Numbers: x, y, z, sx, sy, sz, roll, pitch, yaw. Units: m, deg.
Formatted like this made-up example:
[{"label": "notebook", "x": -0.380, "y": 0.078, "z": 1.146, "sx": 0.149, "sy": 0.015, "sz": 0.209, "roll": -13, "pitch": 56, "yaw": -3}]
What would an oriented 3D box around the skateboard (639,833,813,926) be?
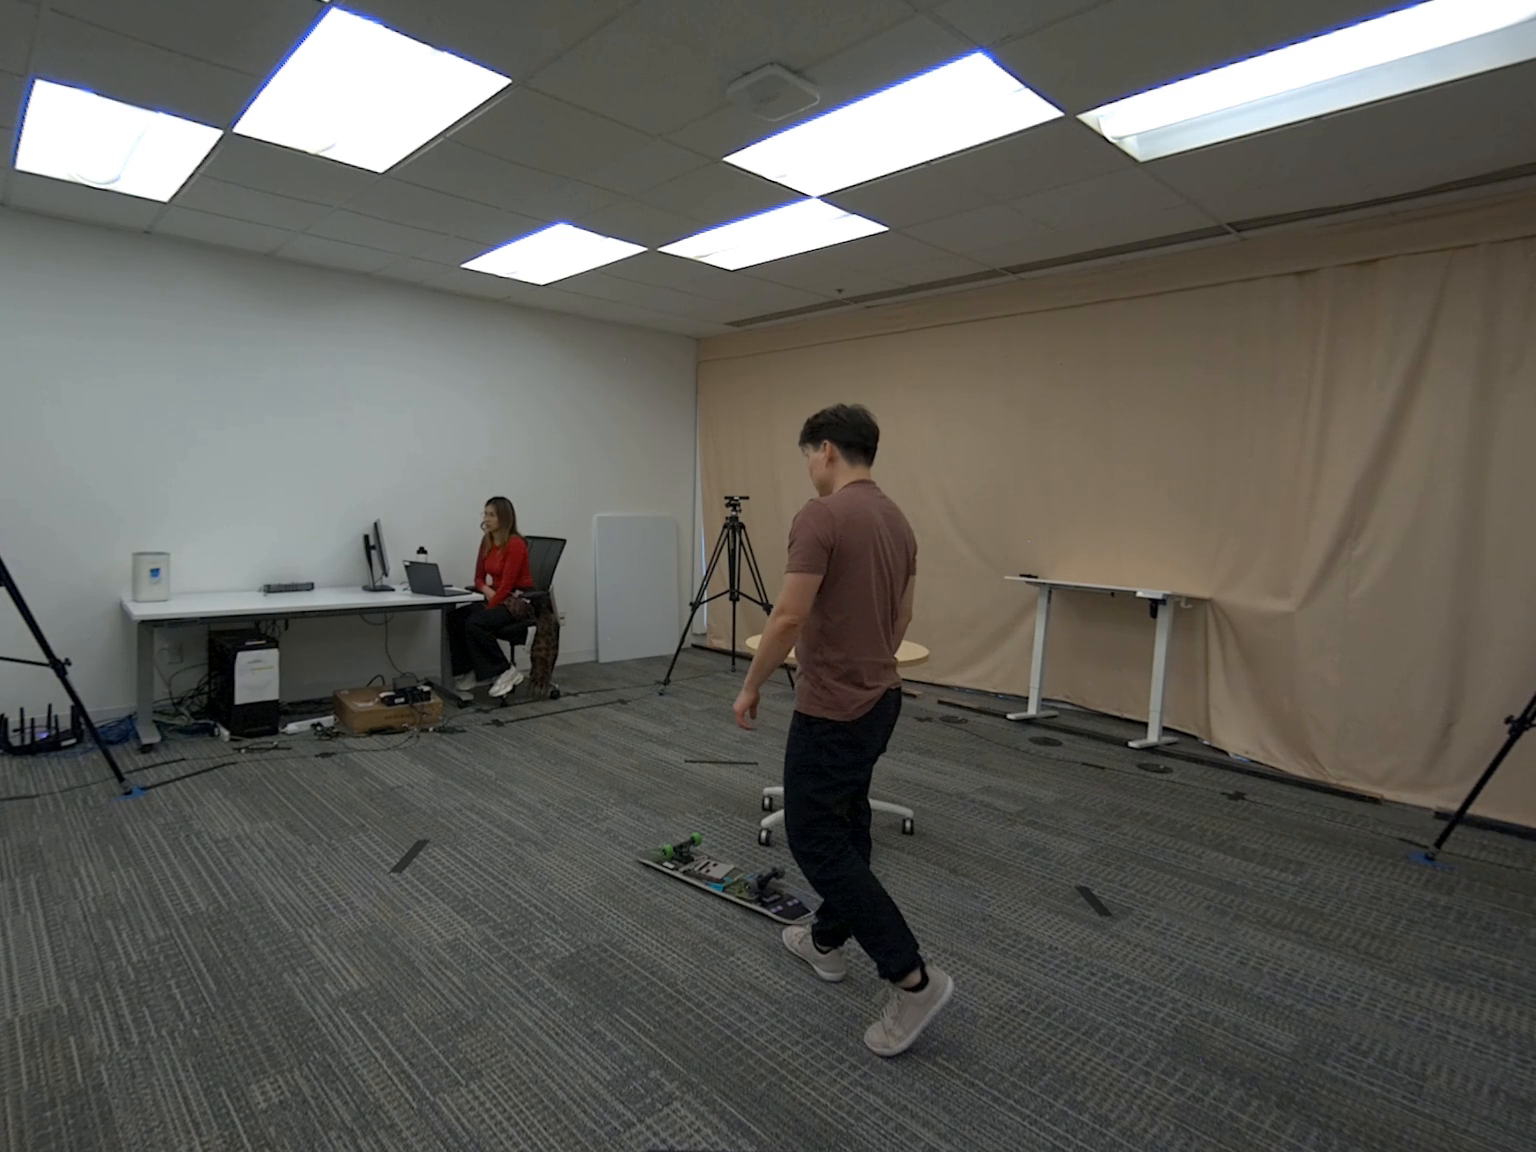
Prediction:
[{"label": "skateboard", "x": -0.174, "y": 1.058, "z": 3.025, "sx": 0.805, "sy": 0.110, "sz": 0.189, "roll": 6, "pitch": 6, "yaw": 39}]
